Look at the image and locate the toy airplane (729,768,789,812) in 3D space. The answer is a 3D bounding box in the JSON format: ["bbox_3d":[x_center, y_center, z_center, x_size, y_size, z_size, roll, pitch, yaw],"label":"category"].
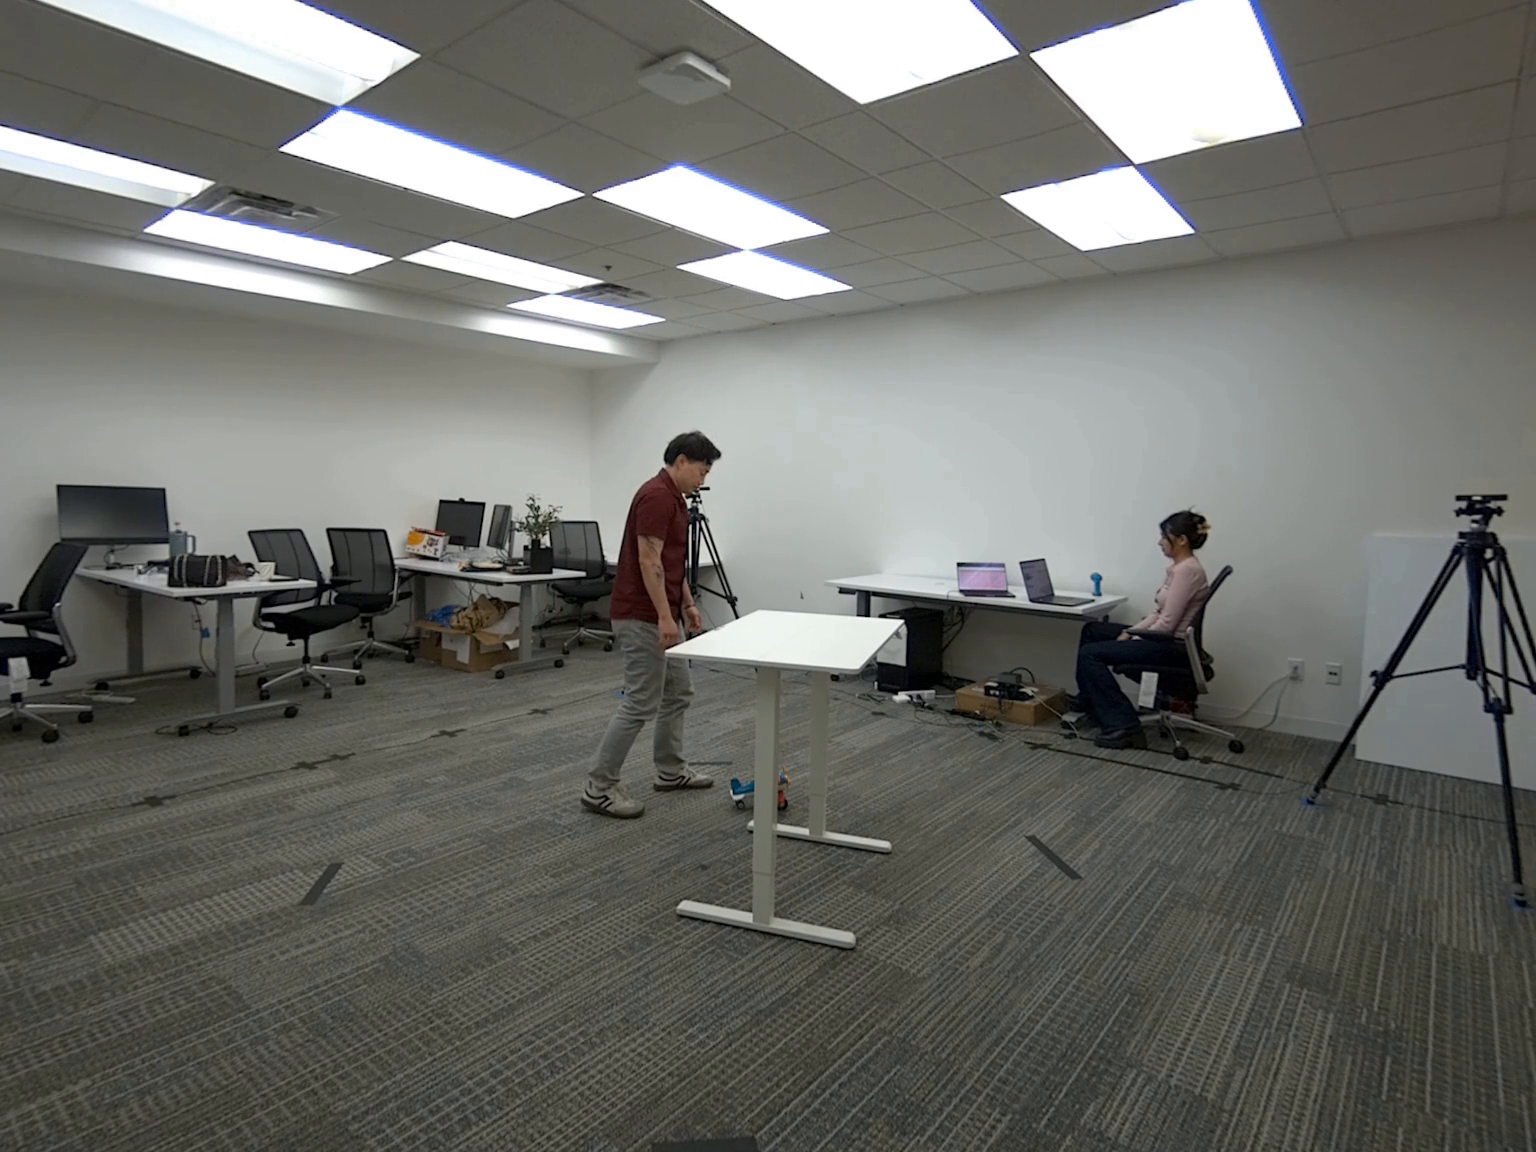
[{"bbox_3d":[-0.037,0.937,3.714,0.252,0.156,0.259,-1,7,-34],"label":"toy airplane"}]
